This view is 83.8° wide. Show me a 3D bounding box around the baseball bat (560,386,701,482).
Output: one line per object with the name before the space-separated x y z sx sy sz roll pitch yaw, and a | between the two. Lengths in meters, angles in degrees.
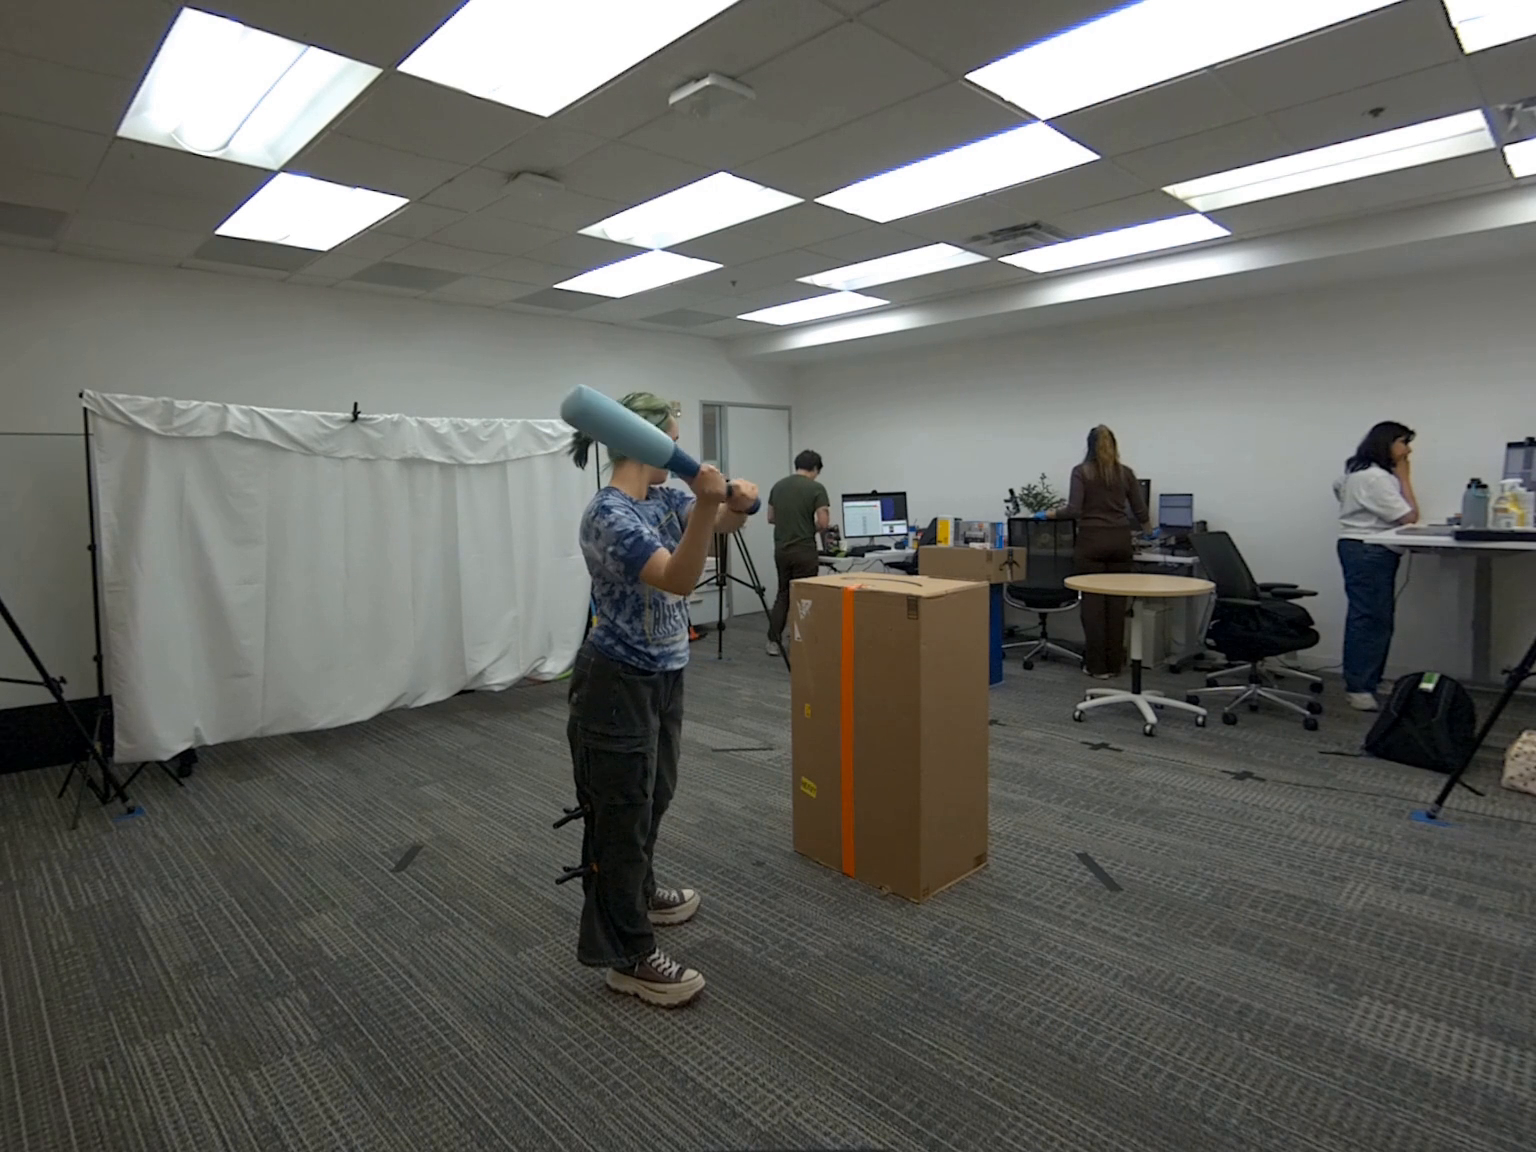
baseball bat | -0.213 -0.256 1.869 0.523 0.089 0.092 28 -15 -38
